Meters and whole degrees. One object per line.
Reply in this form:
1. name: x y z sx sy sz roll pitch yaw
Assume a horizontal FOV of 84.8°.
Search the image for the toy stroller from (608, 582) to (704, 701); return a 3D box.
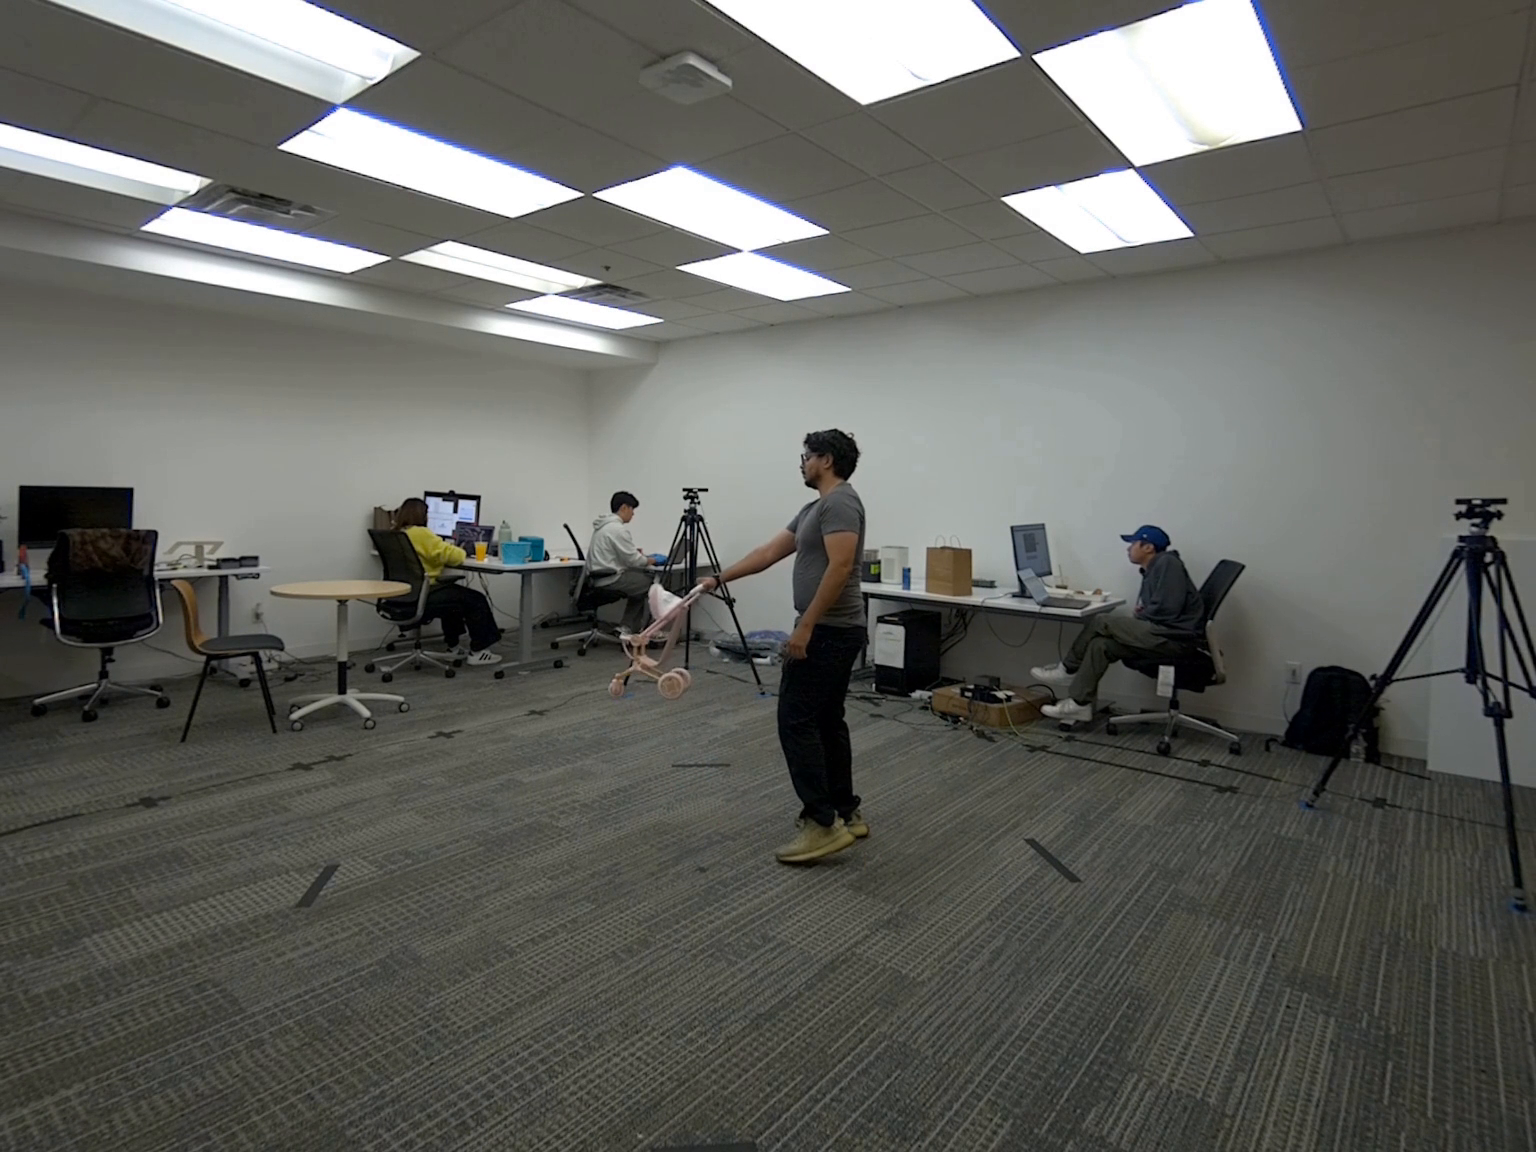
1. toy stroller: -0.482 0.282 3.588 0.345 0.536 0.278 9 -3 8
